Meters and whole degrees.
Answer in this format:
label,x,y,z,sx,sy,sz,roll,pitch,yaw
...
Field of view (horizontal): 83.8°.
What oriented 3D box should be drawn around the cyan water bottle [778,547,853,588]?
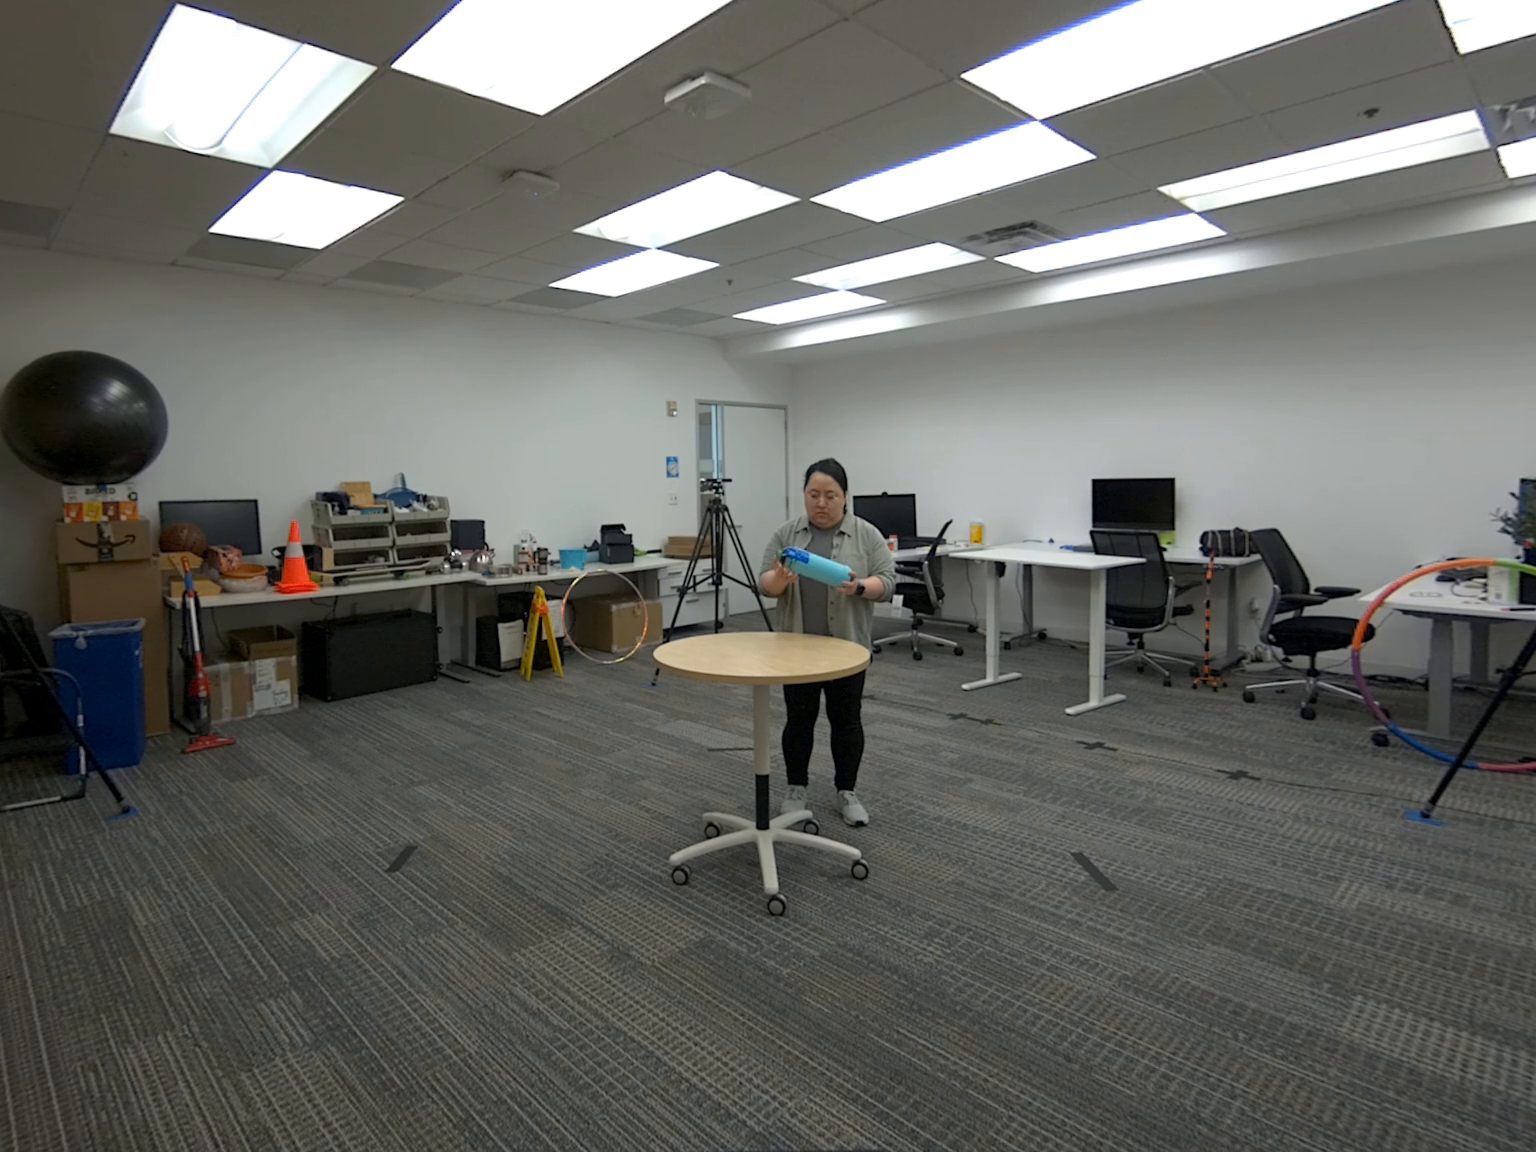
label,x,y,z,sx,sy,sz,roll,pitch,yaw
cyan water bottle,0.173,-0.034,3.222,0.280,0.092,0.093,20,0,-11
